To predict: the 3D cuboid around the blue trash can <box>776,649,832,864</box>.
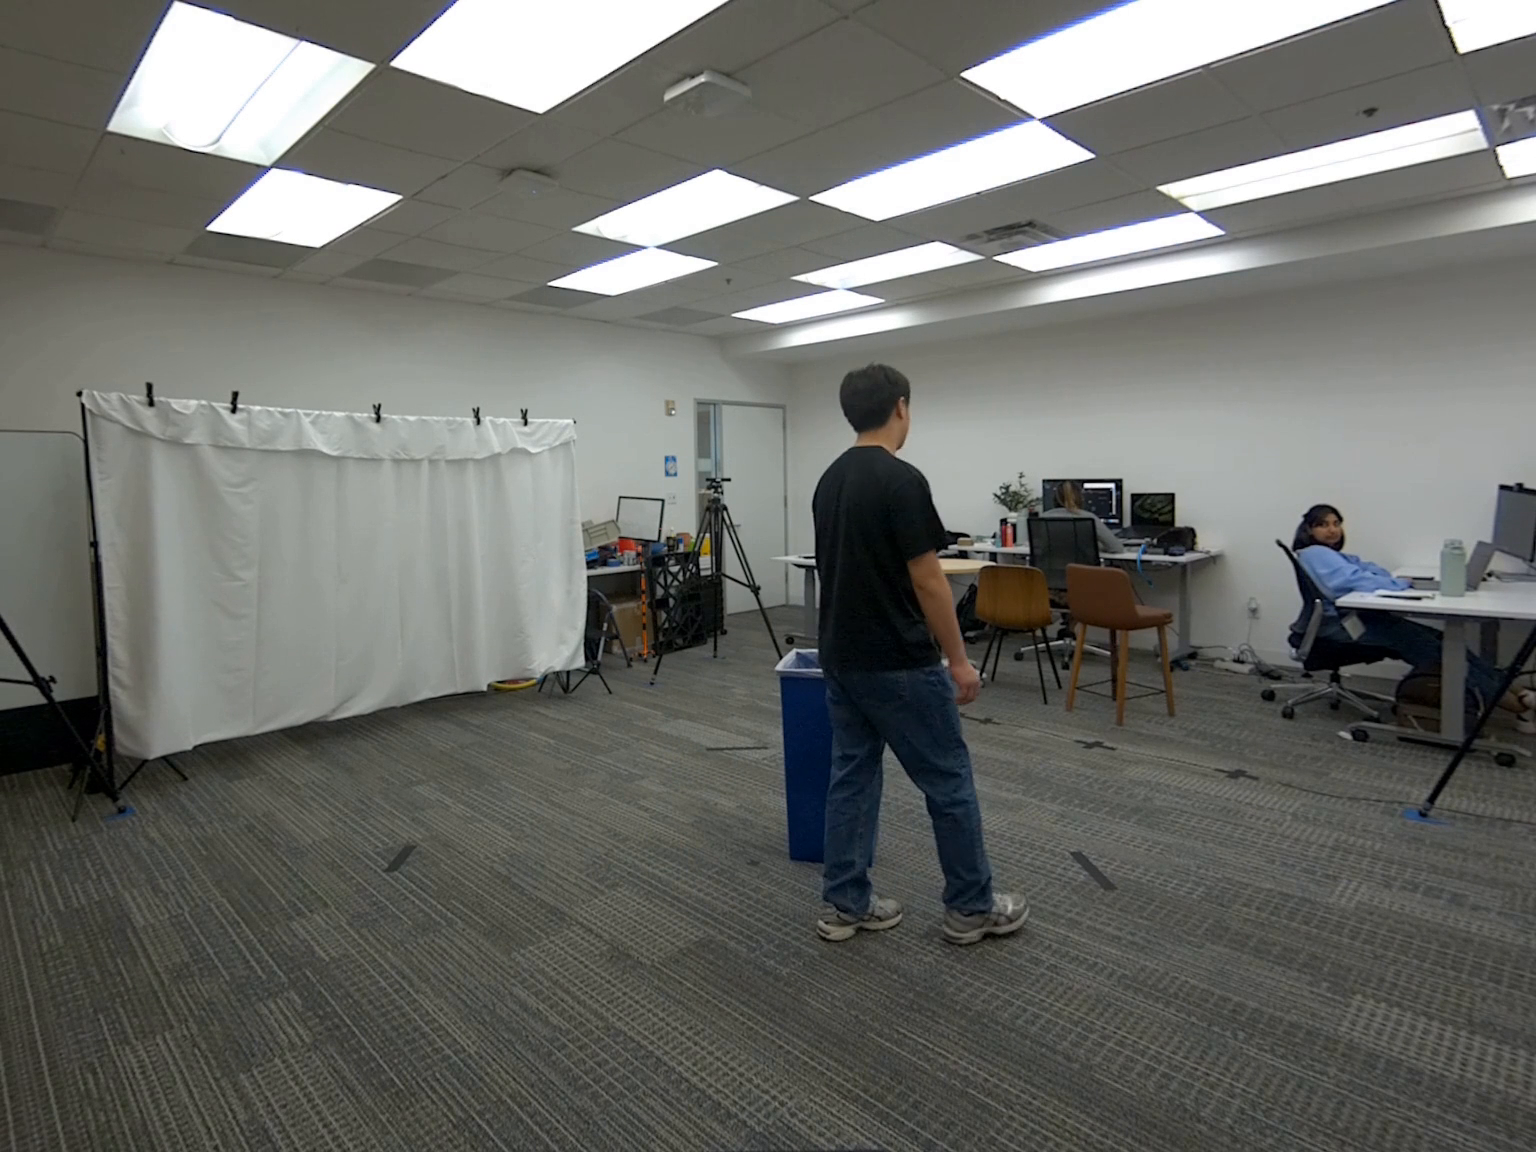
[{"bbox_3d":[0.255,0.665,3.211,0.379,0.711,0.374,-1,4,14],"label":"blue trash can"}]
